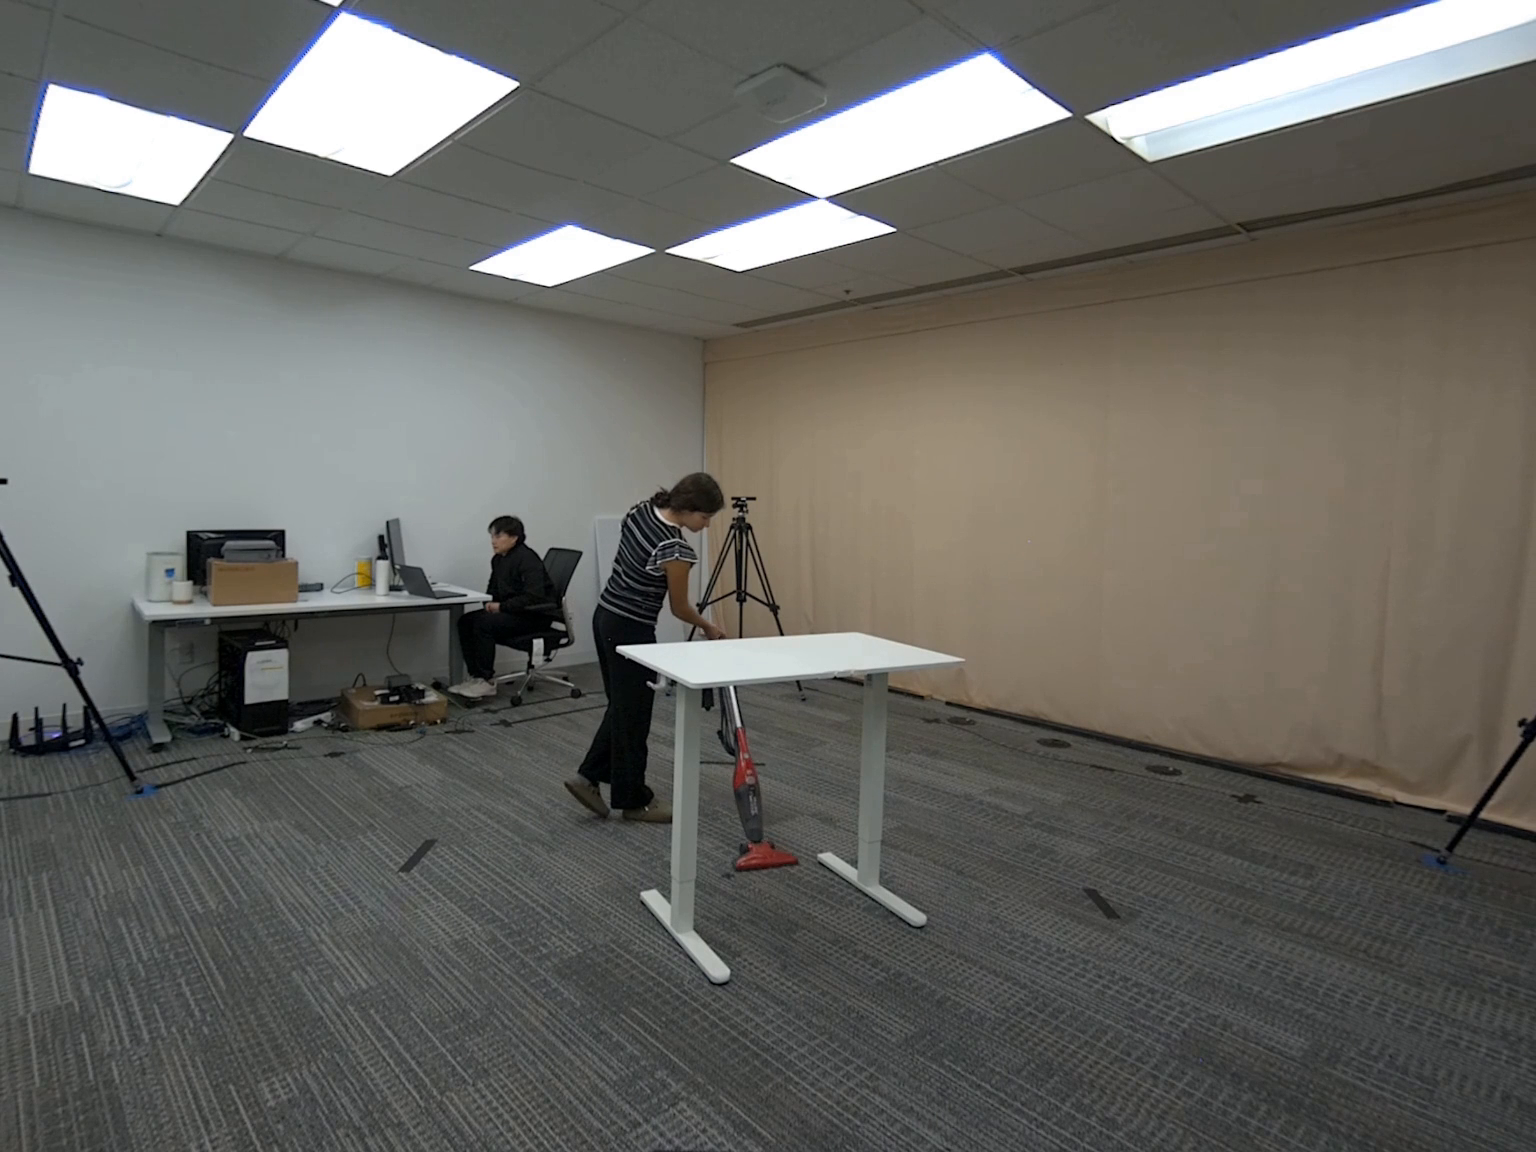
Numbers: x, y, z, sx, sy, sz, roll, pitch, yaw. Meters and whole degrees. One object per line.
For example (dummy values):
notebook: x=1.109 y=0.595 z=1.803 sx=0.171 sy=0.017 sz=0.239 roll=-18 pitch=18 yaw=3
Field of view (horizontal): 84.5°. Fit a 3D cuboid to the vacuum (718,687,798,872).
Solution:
vacuum: x=-0.135 y=0.677 z=3.540 sx=0.248 sy=1.077 sz=0.143 roll=6 pitch=-41 yaw=-25
